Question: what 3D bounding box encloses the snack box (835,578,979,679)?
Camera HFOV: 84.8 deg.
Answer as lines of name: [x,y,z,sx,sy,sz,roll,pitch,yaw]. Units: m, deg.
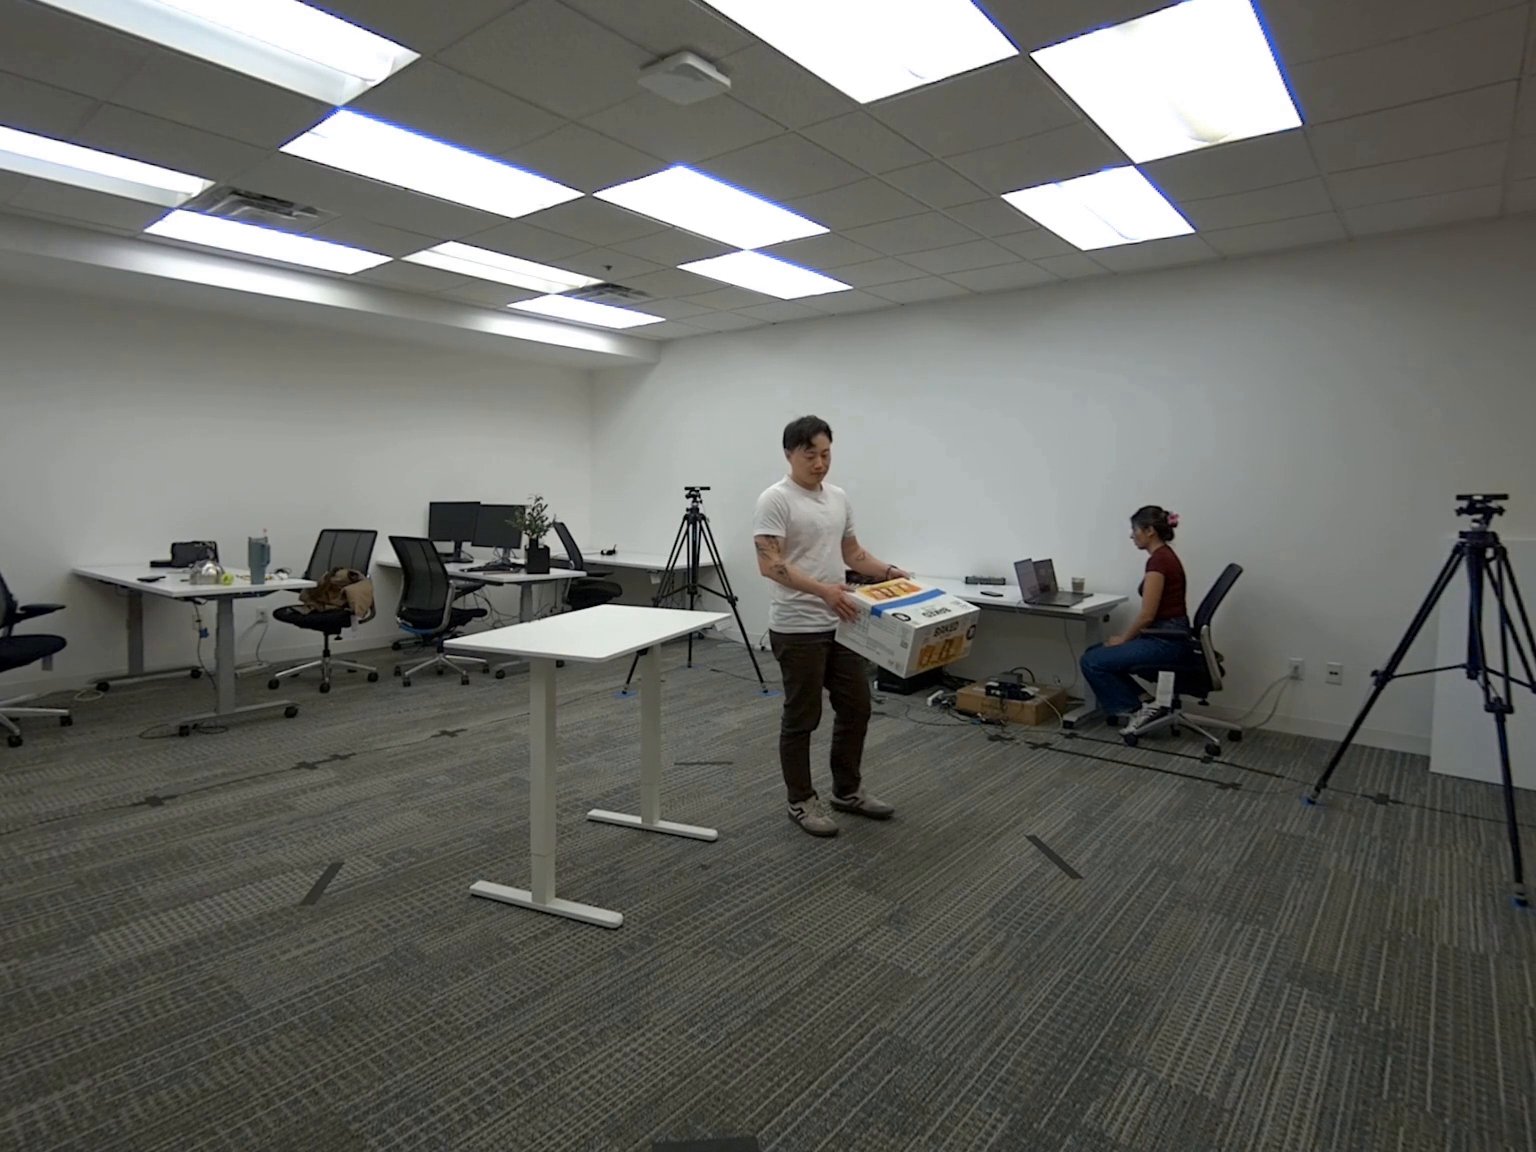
snack box: [0.520,0.183,3.214,0.395,0.202,0.354,-11,26,-40]
